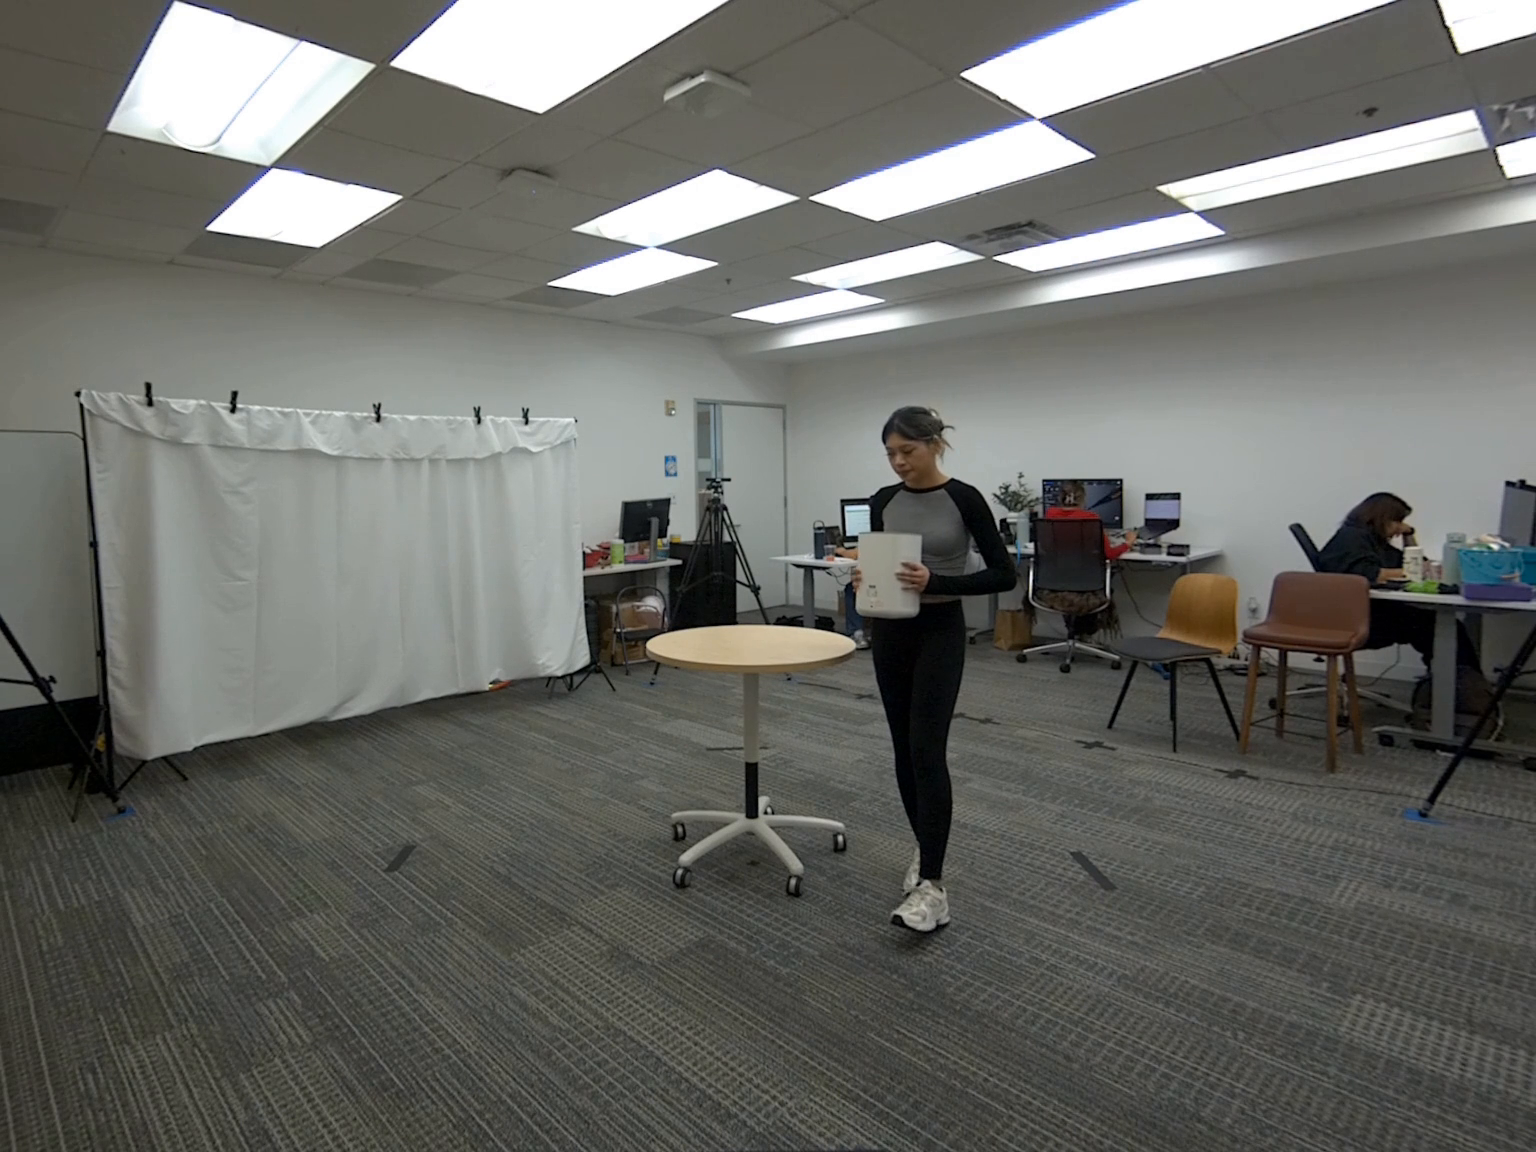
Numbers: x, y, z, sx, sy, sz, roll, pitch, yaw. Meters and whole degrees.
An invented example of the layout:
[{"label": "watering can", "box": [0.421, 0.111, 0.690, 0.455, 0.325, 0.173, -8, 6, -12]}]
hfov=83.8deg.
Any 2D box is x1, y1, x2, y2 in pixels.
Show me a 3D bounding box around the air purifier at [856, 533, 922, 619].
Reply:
[{"label": "air purifier", "box": [0.367, 0.000, 2.705, 0.176, 0.266, 0.166, 2, -2, 35]}]
